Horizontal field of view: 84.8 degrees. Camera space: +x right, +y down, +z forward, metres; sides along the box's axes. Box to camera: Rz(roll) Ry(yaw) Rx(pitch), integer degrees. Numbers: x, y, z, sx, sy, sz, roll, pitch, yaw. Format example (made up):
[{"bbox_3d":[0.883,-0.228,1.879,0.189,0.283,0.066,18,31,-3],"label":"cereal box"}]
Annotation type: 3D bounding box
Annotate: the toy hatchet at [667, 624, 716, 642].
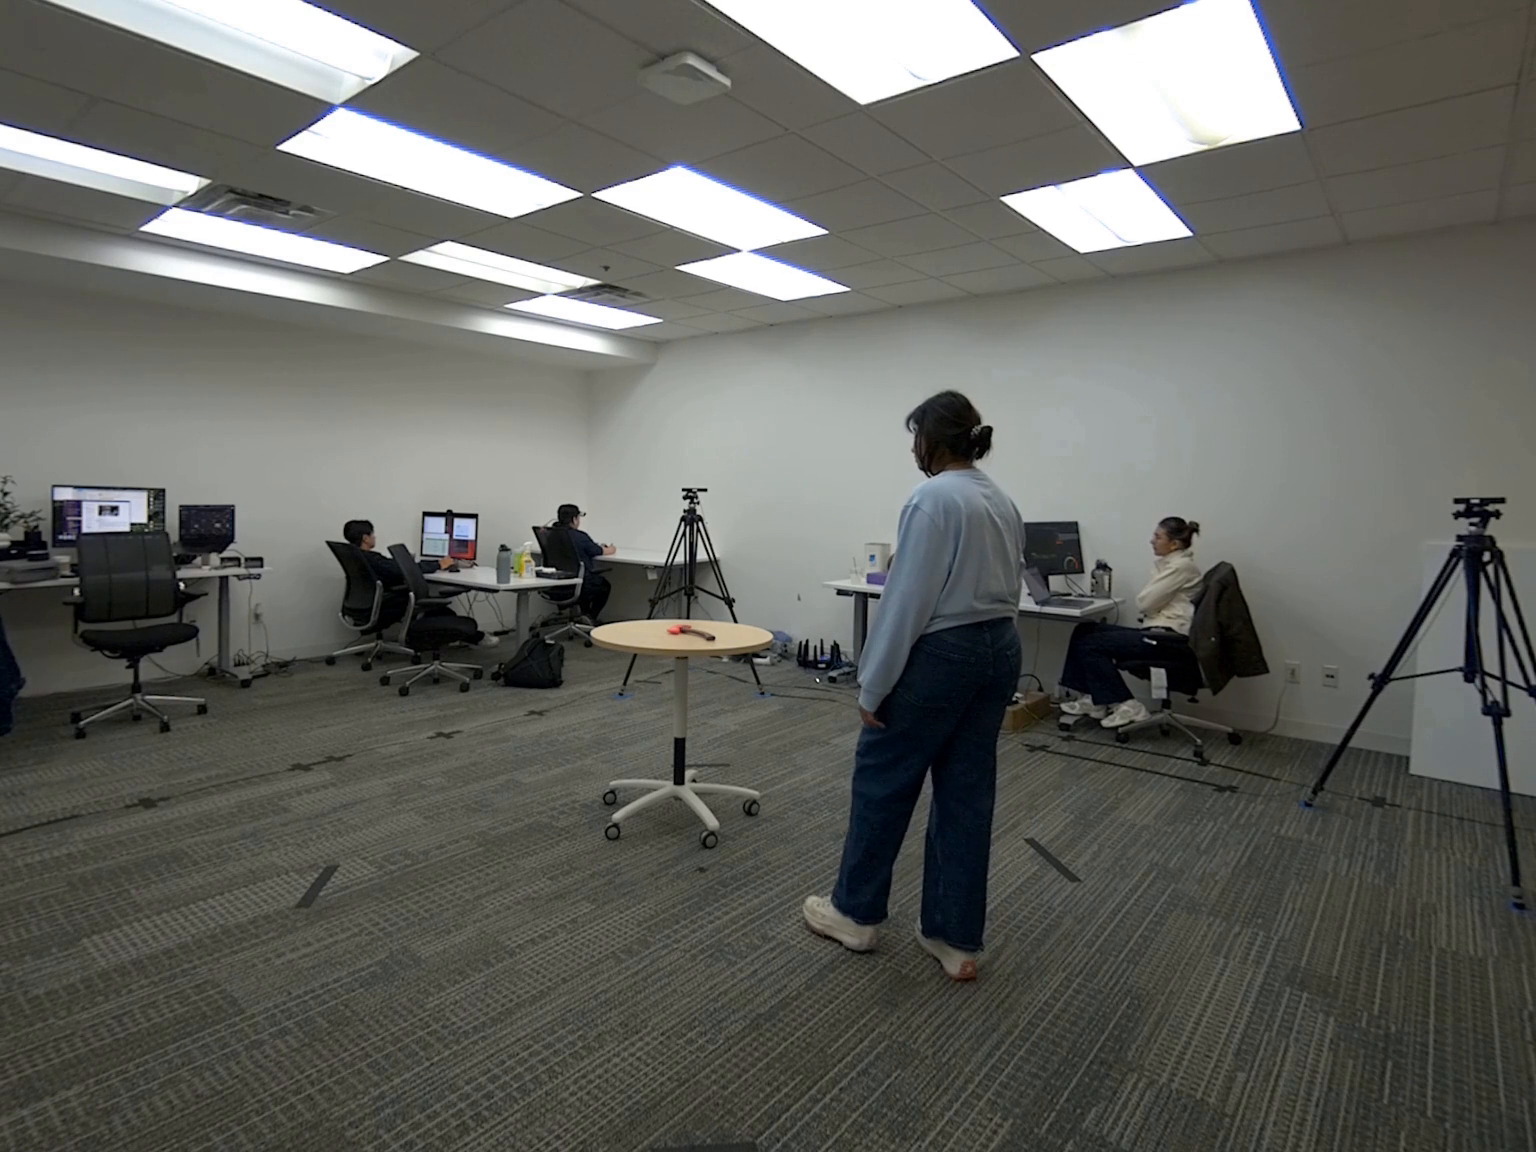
[{"bbox_3d":[-0.339,0.232,3.506,0.128,0.029,0.278,-2,7,-26],"label":"toy hatchet"}]
